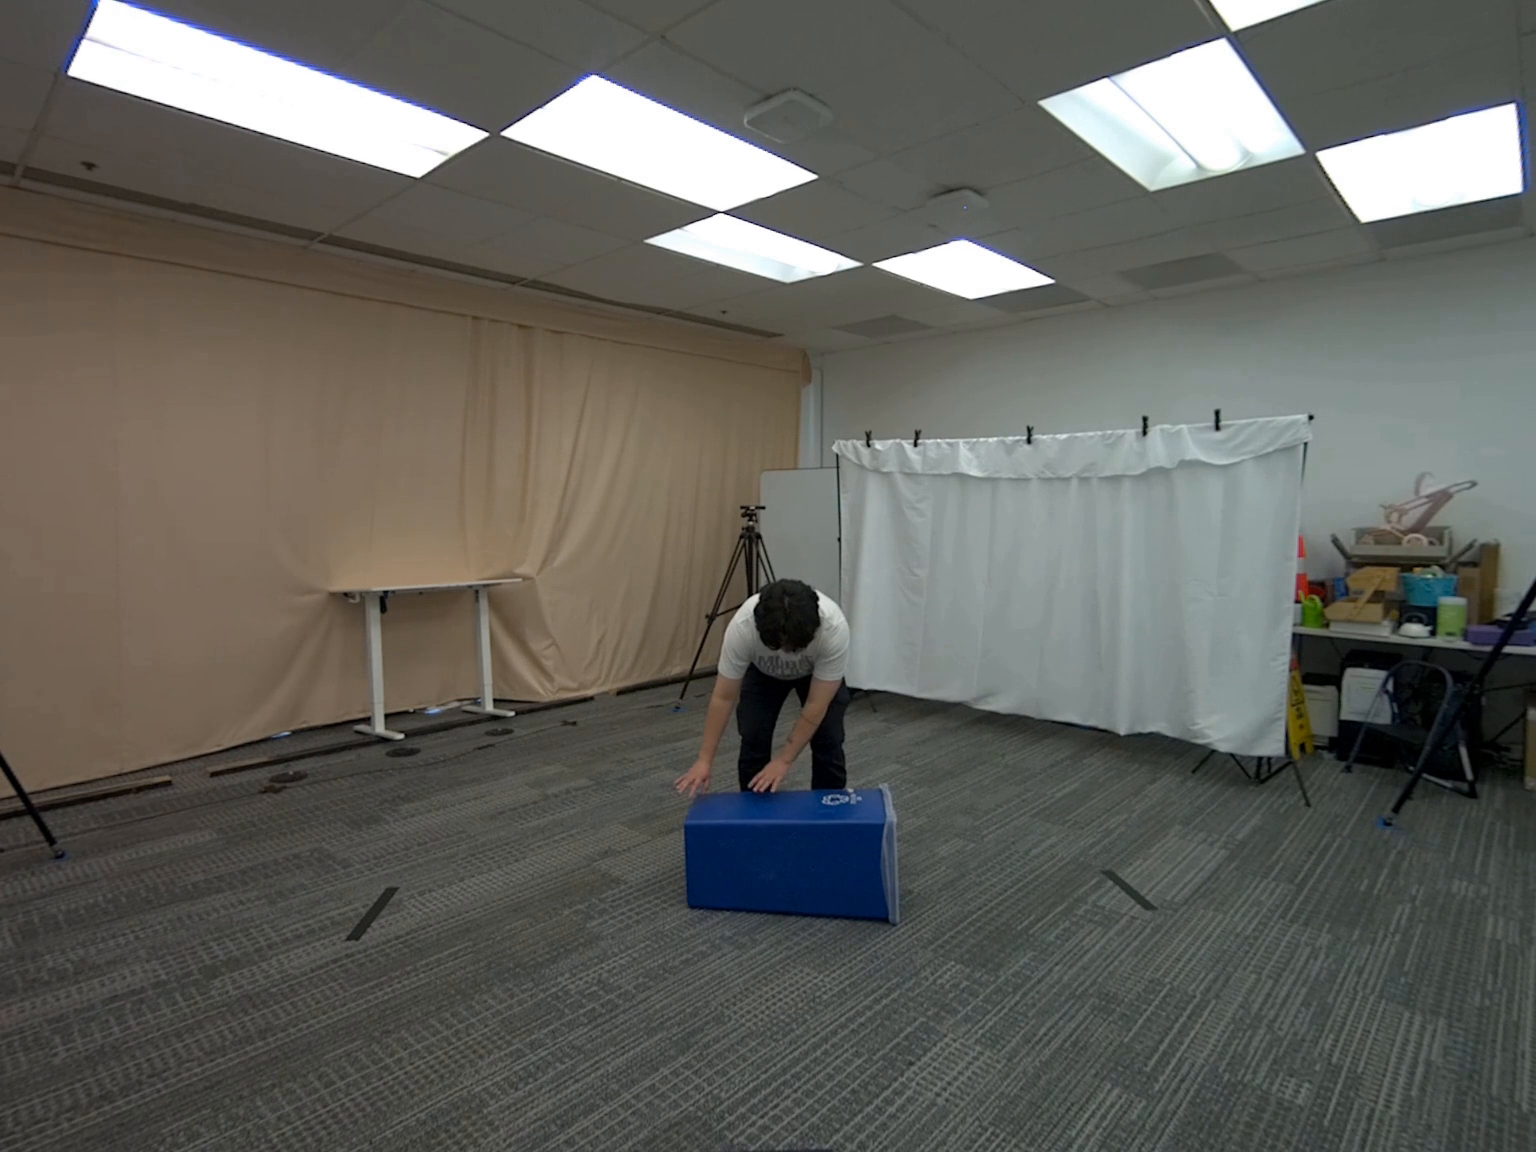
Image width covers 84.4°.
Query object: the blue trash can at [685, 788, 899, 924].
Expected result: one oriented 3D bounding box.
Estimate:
[{"bbox_3d":[0.090,0.973,2.992,0.719,0.377,0.372,-3,4,6],"label":"blue trash can"}]
